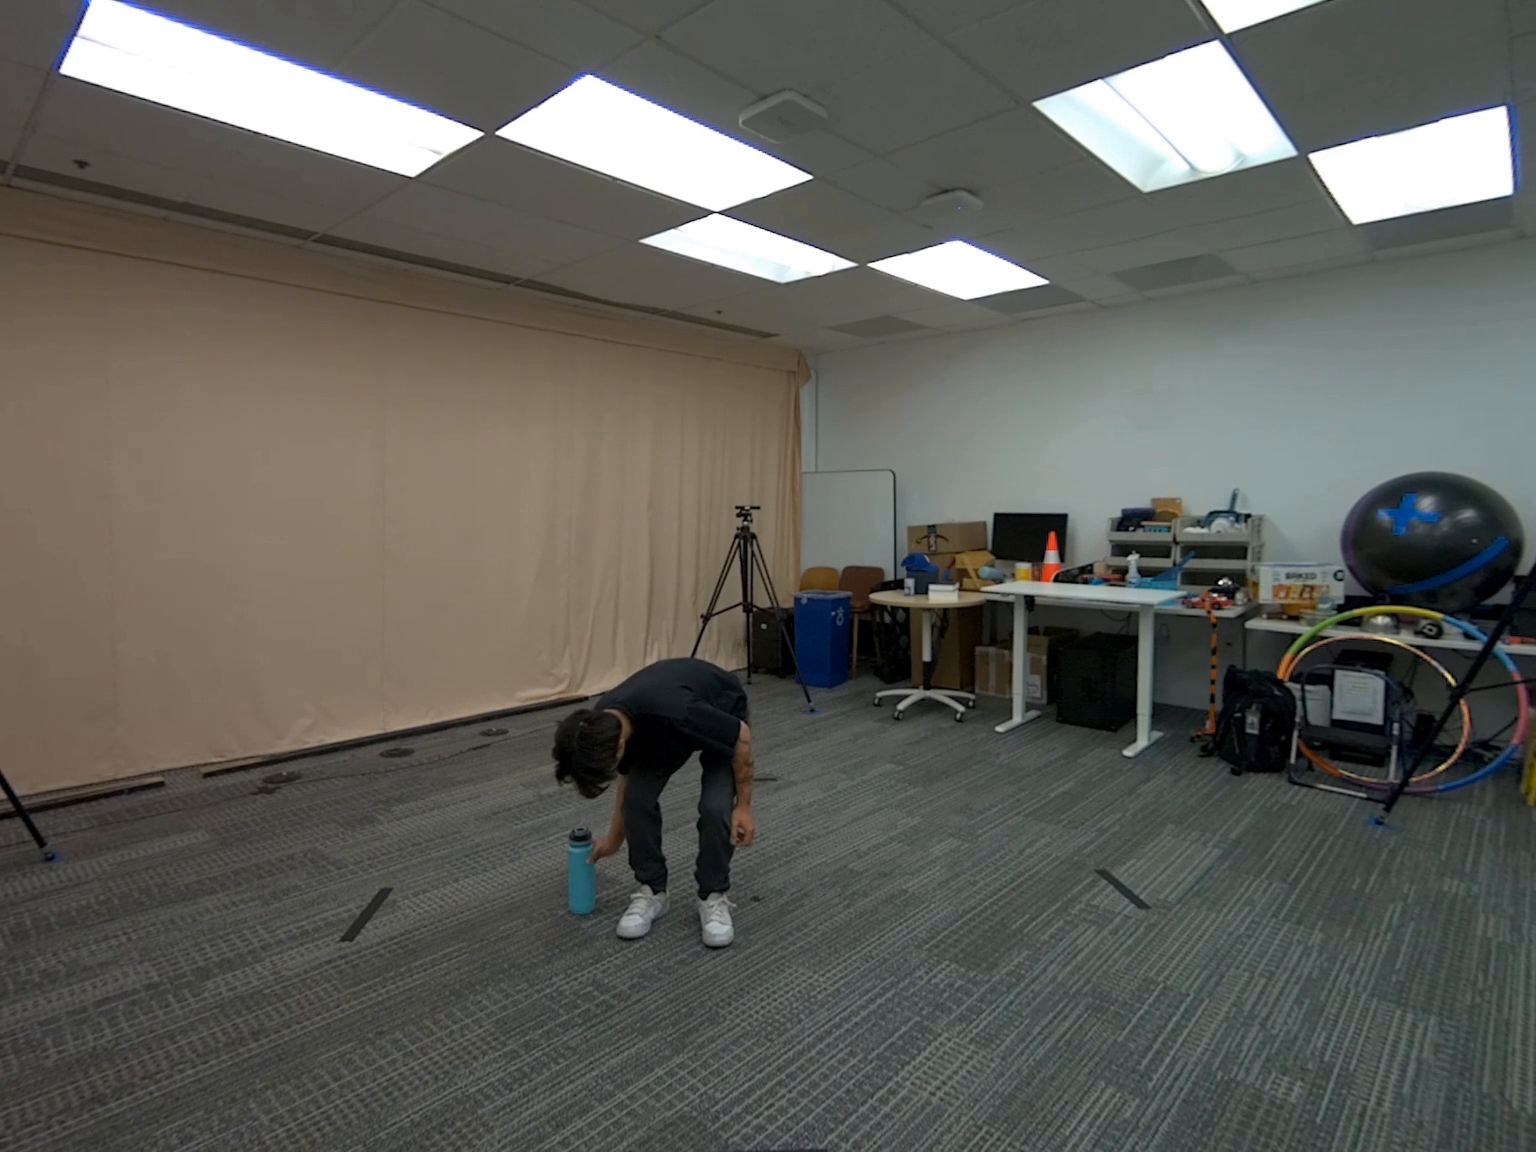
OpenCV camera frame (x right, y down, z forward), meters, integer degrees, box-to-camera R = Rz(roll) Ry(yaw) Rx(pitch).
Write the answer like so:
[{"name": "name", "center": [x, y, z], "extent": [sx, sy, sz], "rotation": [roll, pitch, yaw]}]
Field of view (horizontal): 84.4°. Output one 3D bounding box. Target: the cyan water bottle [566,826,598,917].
[{"name": "cyan water bottle", "center": [-0.650, 1.014, 2.910], "extent": [0.092, 0.283, 0.092], "rotation": [-1, 1, -2]}]
